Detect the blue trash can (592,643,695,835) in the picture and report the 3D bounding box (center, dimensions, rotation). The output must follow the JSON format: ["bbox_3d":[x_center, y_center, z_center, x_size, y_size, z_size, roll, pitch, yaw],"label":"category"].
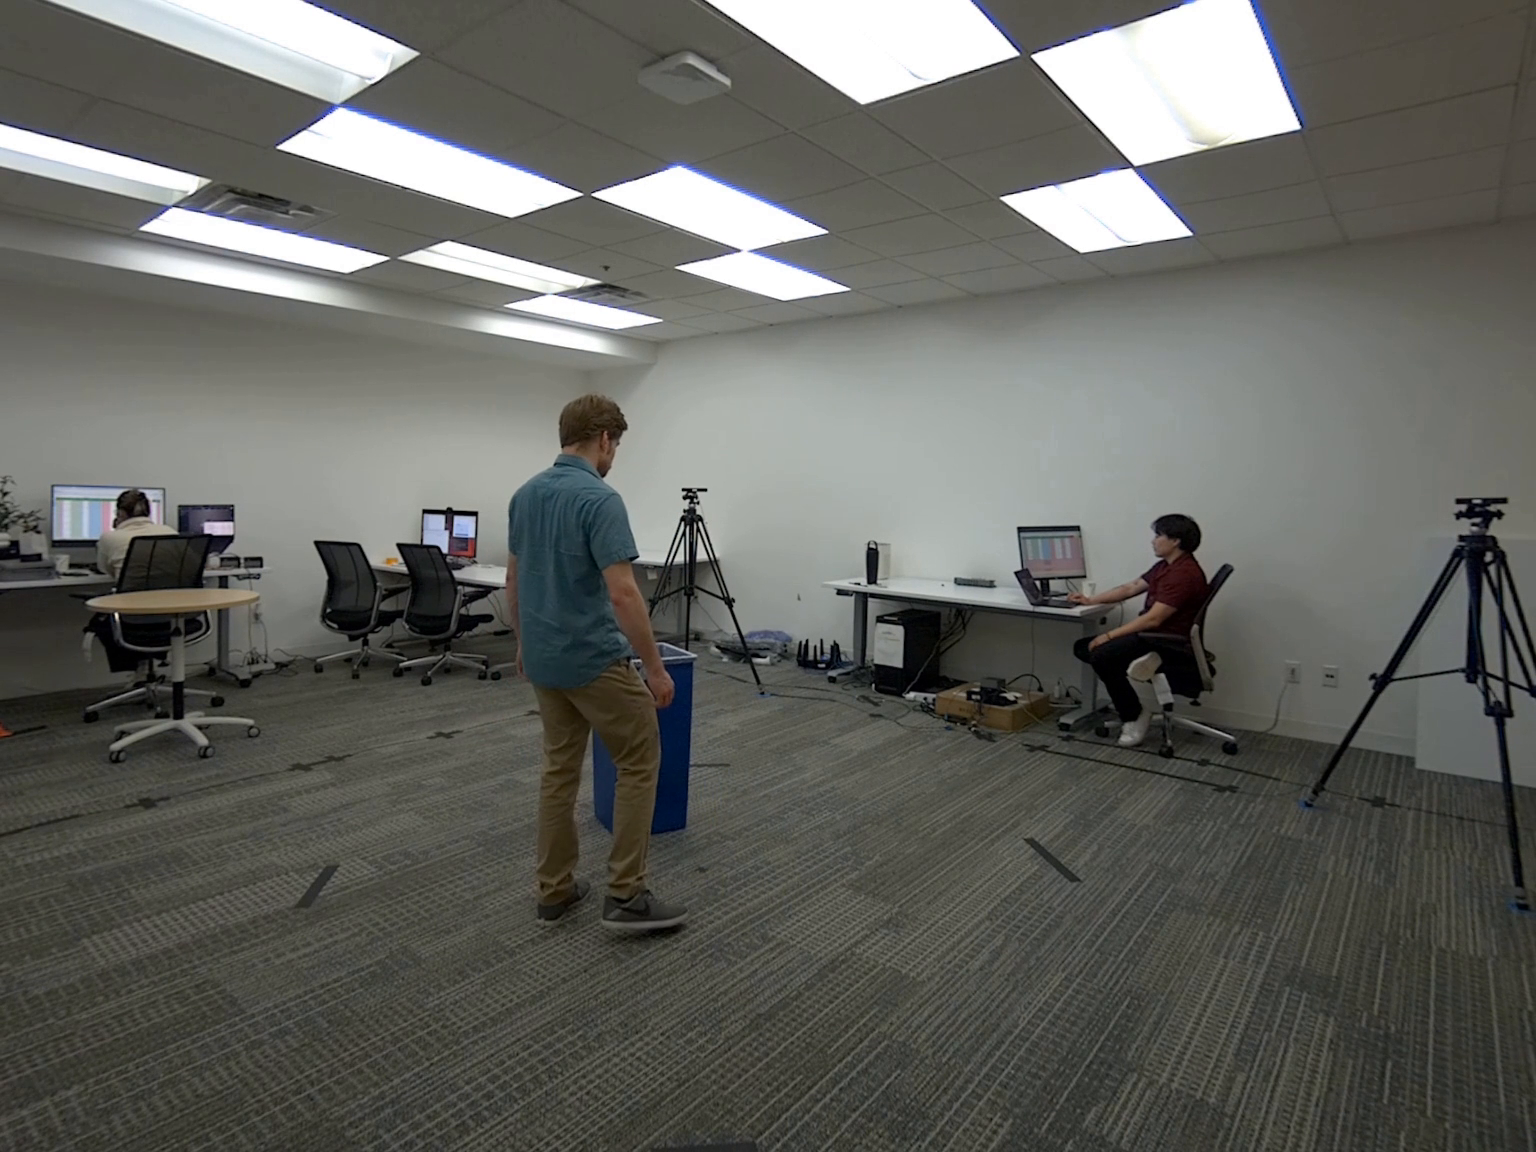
[{"bbox_3d":[-0.543,0.663,3.537,0.368,0.712,0.385,0,3,-29],"label":"blue trash can"}]
